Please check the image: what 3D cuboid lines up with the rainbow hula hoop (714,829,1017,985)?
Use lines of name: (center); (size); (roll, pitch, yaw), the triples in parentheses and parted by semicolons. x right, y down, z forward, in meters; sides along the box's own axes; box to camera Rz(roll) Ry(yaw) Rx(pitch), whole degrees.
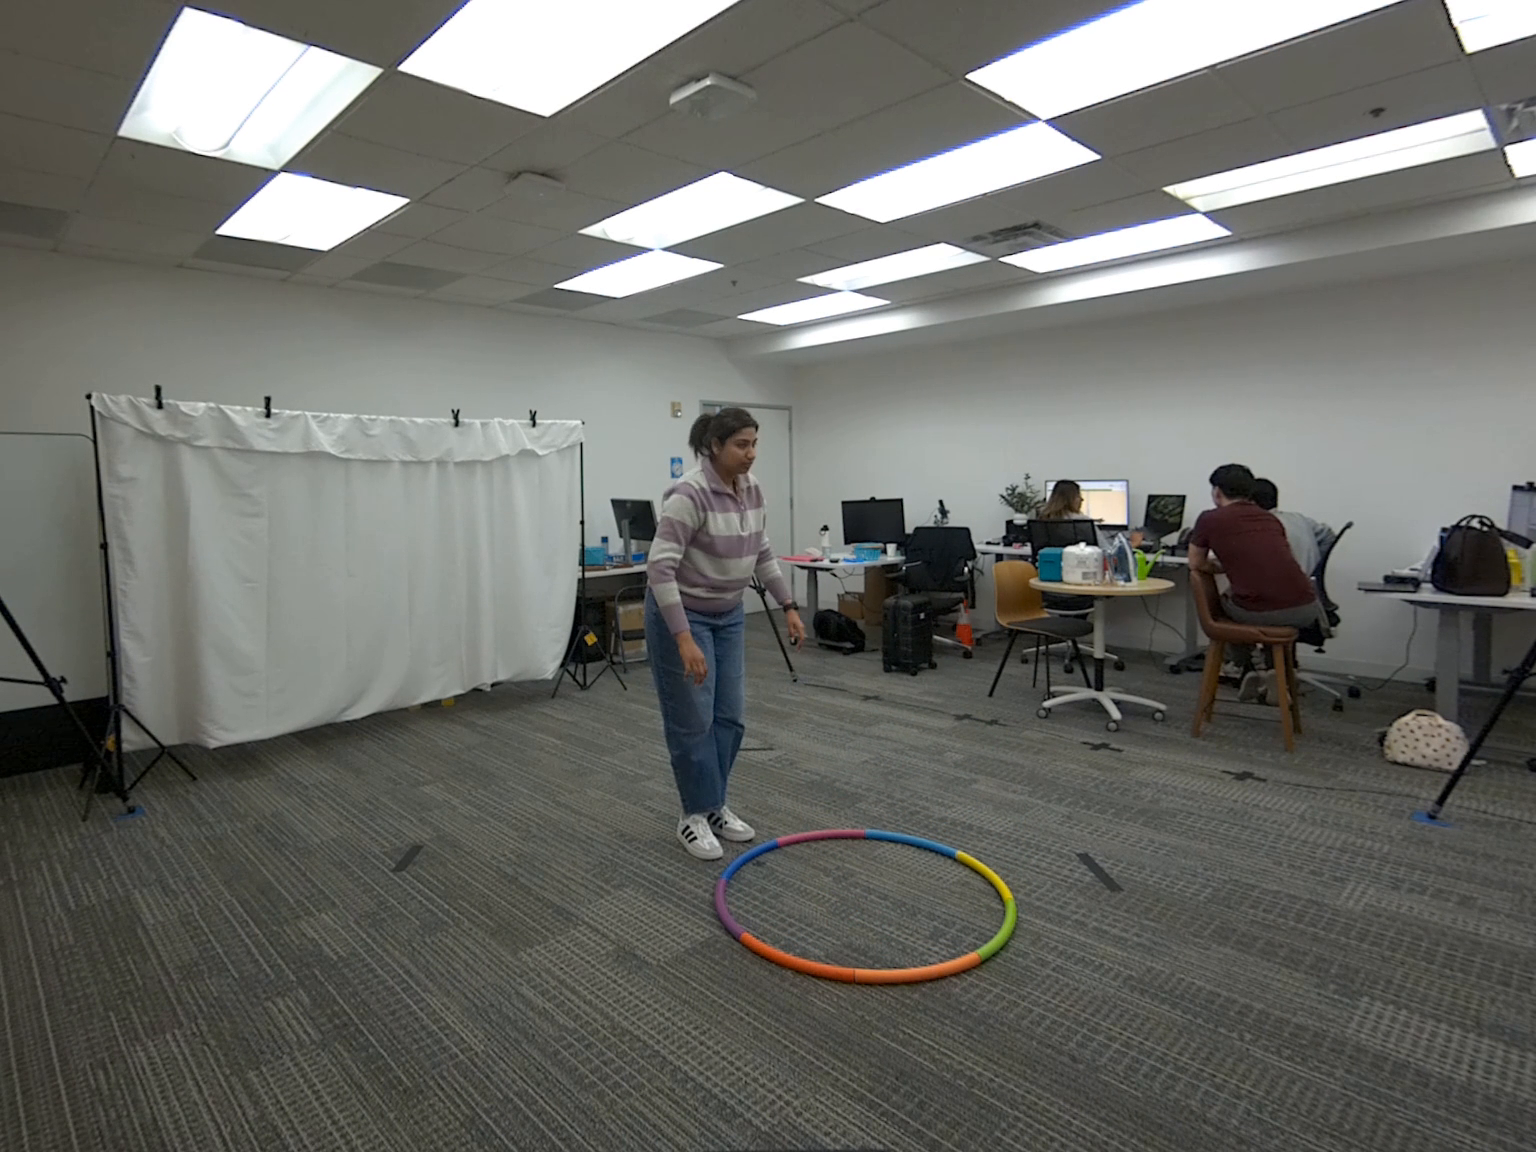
rainbow hula hoop: (0.309, 1.042, 2.838); (0.978, 0.035, 0.984); (-2, 7, -2)
